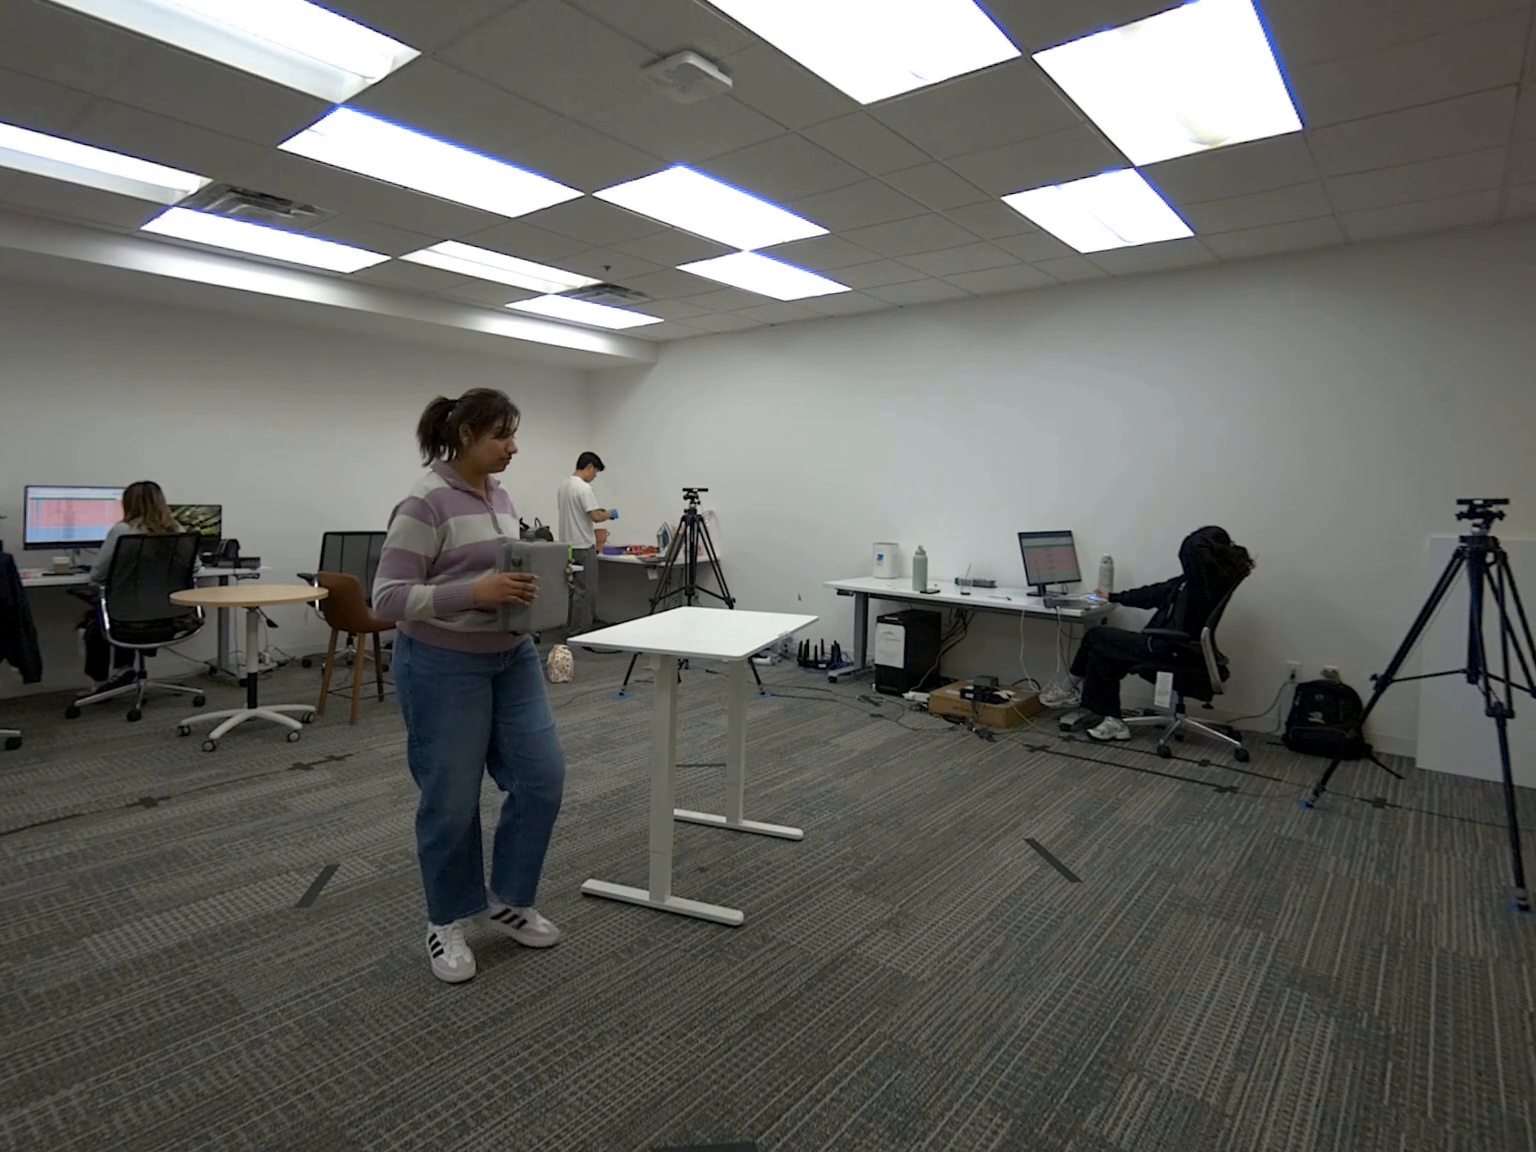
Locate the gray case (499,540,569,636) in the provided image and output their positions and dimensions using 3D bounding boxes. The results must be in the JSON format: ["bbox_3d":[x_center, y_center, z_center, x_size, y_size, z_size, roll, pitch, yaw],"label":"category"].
[{"bbox_3d":[-0.670,0.027,2.391,0.106,0.260,0.254,4,3,12],"label":"gray case"}]
